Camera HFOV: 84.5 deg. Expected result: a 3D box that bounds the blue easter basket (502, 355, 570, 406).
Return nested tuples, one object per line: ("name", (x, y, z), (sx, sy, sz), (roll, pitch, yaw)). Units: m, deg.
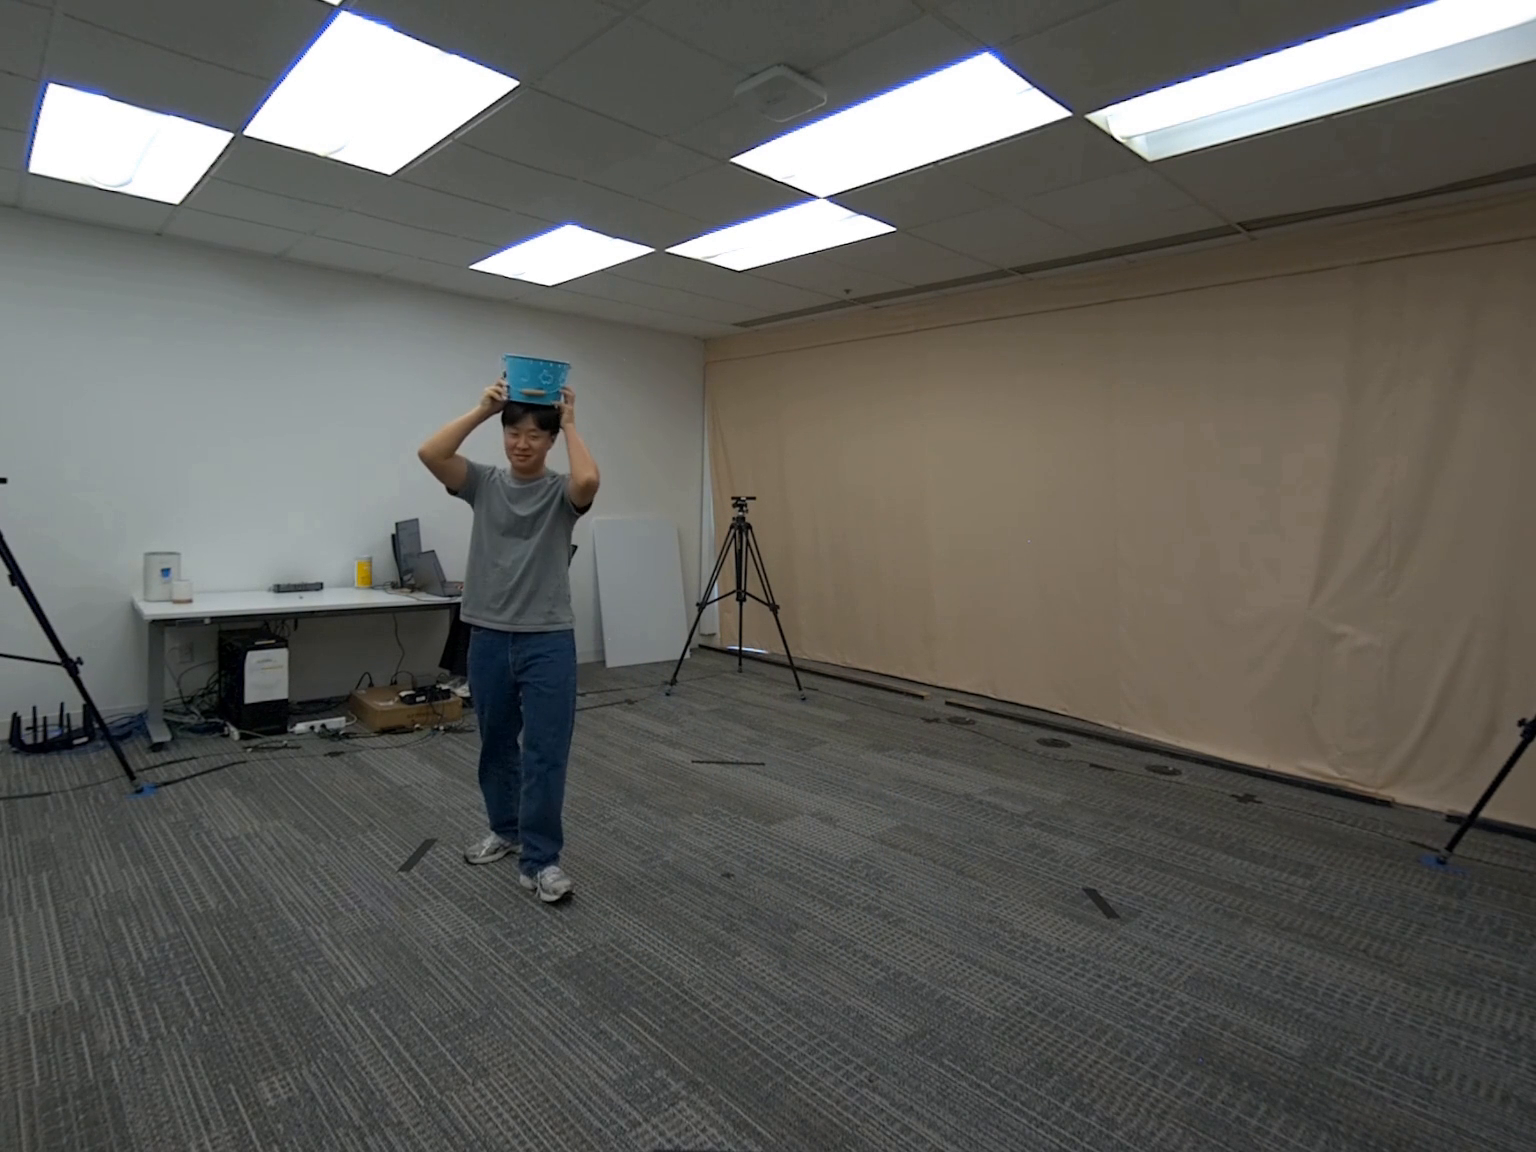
("blue easter basket", (-0.829, -0.677, 2.925), (0.243, 0.155, 0.245), (5, 11, -2))
